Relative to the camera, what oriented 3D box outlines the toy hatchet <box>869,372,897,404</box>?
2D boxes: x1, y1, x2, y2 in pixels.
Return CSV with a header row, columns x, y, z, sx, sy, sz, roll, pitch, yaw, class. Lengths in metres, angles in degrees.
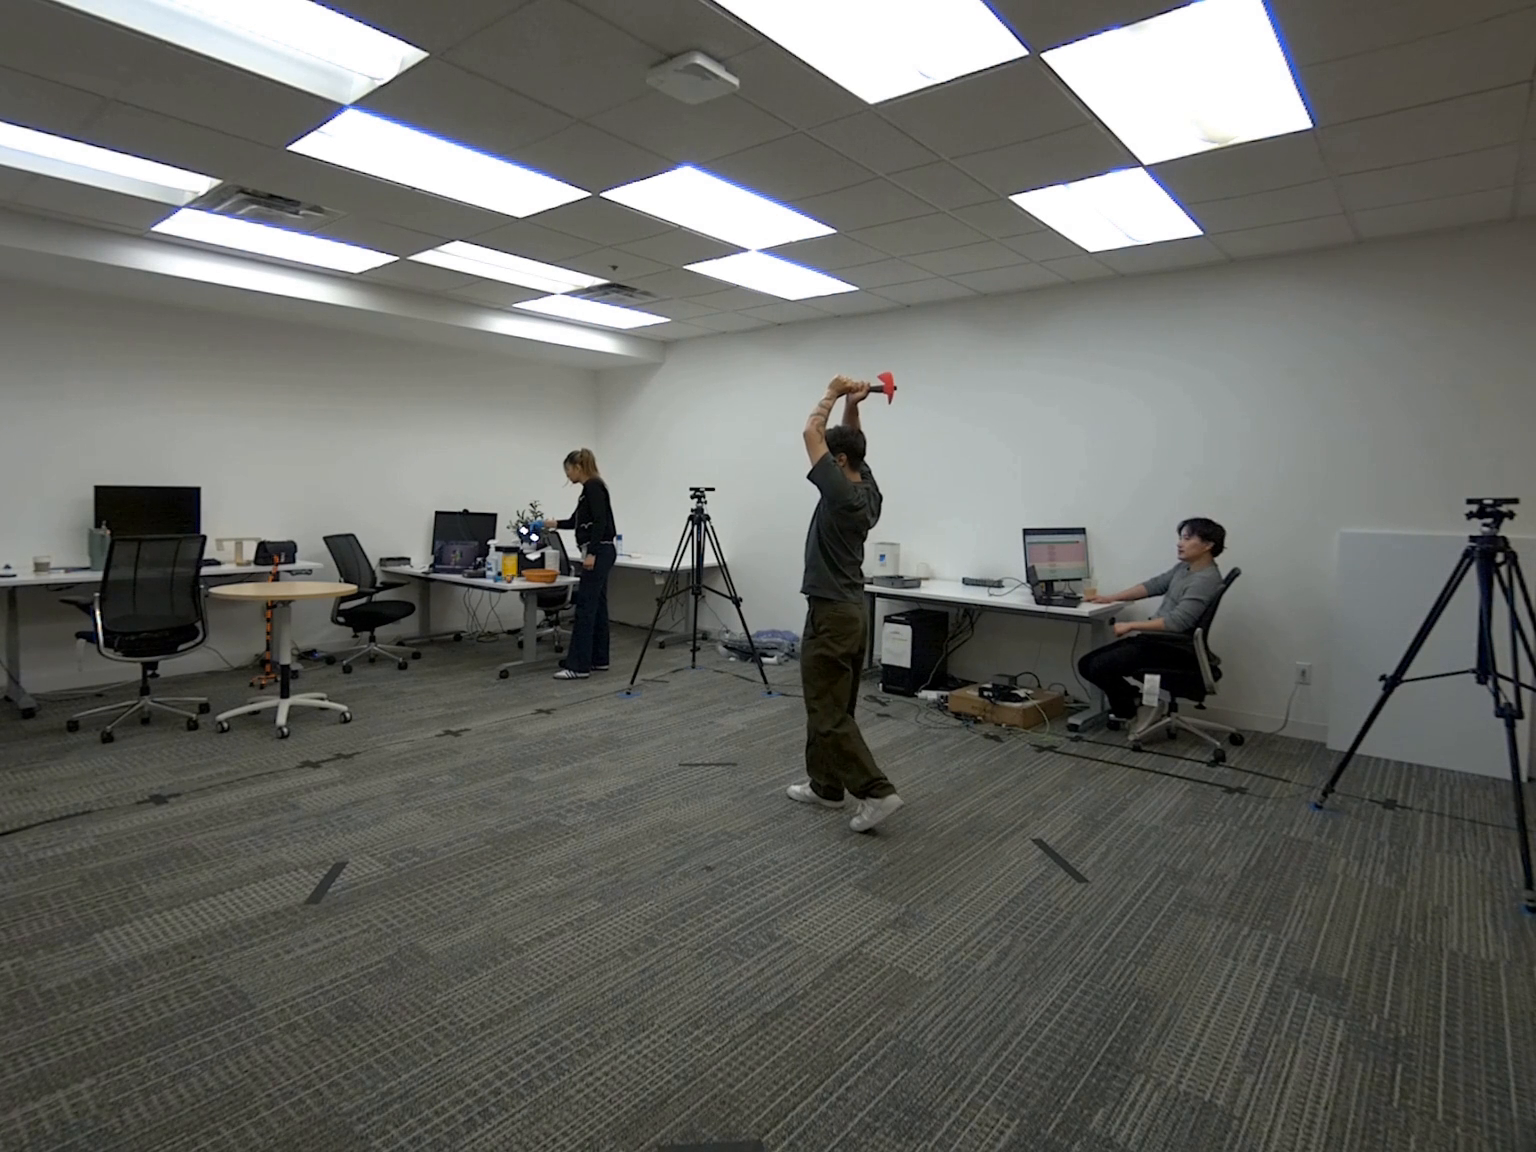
x,y,z,sx,sy,sz,roll,pitch,yaw,class
0.397,-0.827,3.570,0.275,0.130,0.029,22,18,13,toy hatchet
